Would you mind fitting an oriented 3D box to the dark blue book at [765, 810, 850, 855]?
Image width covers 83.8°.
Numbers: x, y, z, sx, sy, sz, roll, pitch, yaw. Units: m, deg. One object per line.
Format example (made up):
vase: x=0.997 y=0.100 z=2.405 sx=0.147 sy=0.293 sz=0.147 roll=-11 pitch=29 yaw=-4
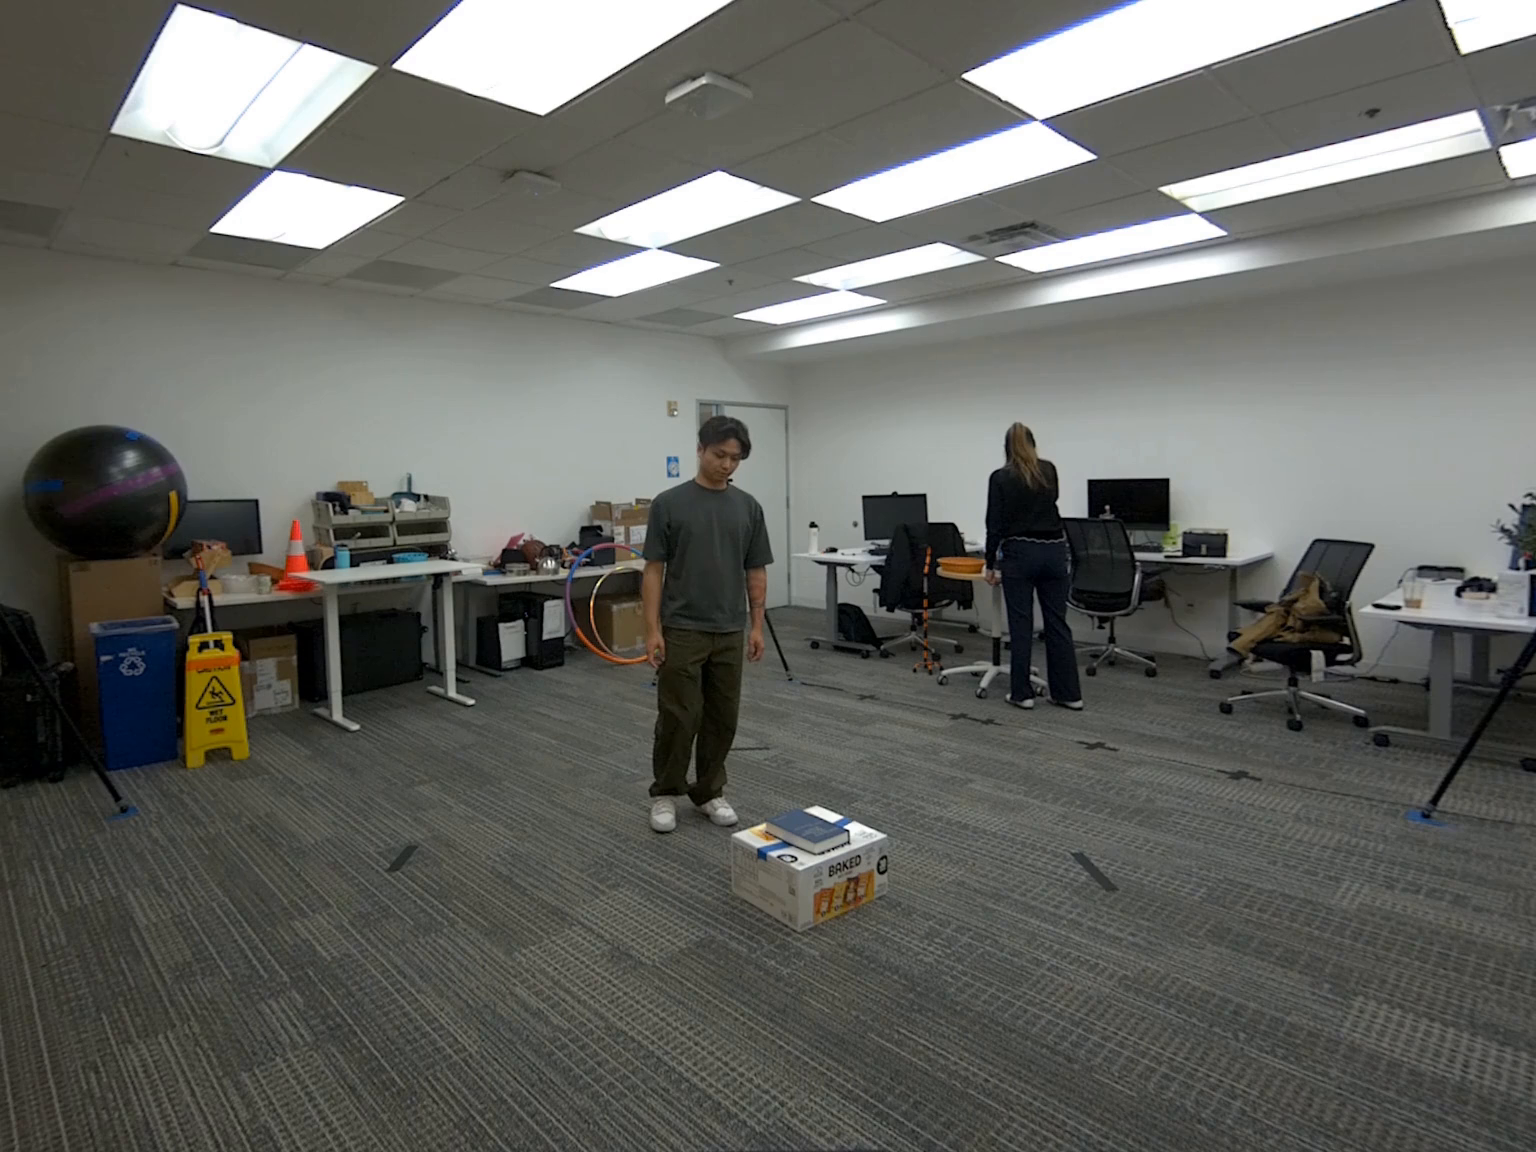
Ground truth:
dark blue book: x=0.140 y=0.858 z=2.852 sx=0.159 sy=0.045 sz=0.253 roll=-6 pitch=8 yaw=-40
